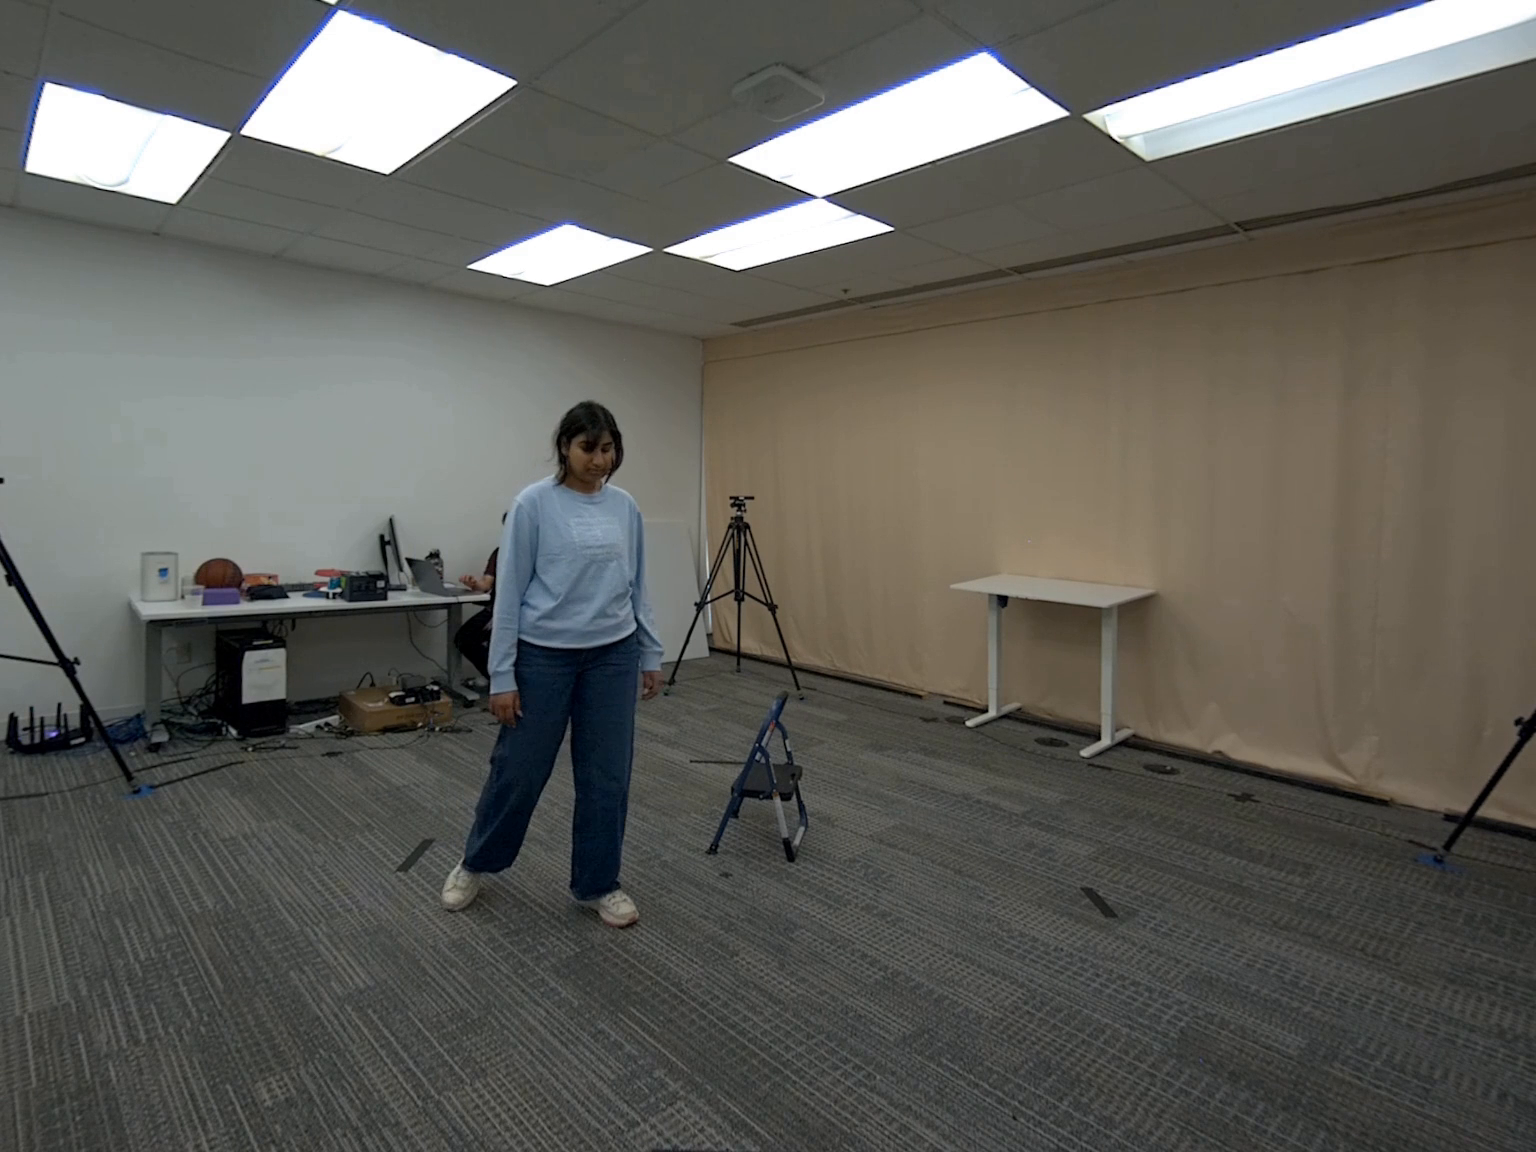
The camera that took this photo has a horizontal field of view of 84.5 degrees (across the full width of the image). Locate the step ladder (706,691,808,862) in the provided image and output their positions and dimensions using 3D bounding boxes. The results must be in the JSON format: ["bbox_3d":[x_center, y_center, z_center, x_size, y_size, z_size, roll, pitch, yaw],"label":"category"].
[{"bbox_3d":[-0.028,0.775,3.441,0.353,0.605,0.427,2,3,11],"label":"step ladder"}]
